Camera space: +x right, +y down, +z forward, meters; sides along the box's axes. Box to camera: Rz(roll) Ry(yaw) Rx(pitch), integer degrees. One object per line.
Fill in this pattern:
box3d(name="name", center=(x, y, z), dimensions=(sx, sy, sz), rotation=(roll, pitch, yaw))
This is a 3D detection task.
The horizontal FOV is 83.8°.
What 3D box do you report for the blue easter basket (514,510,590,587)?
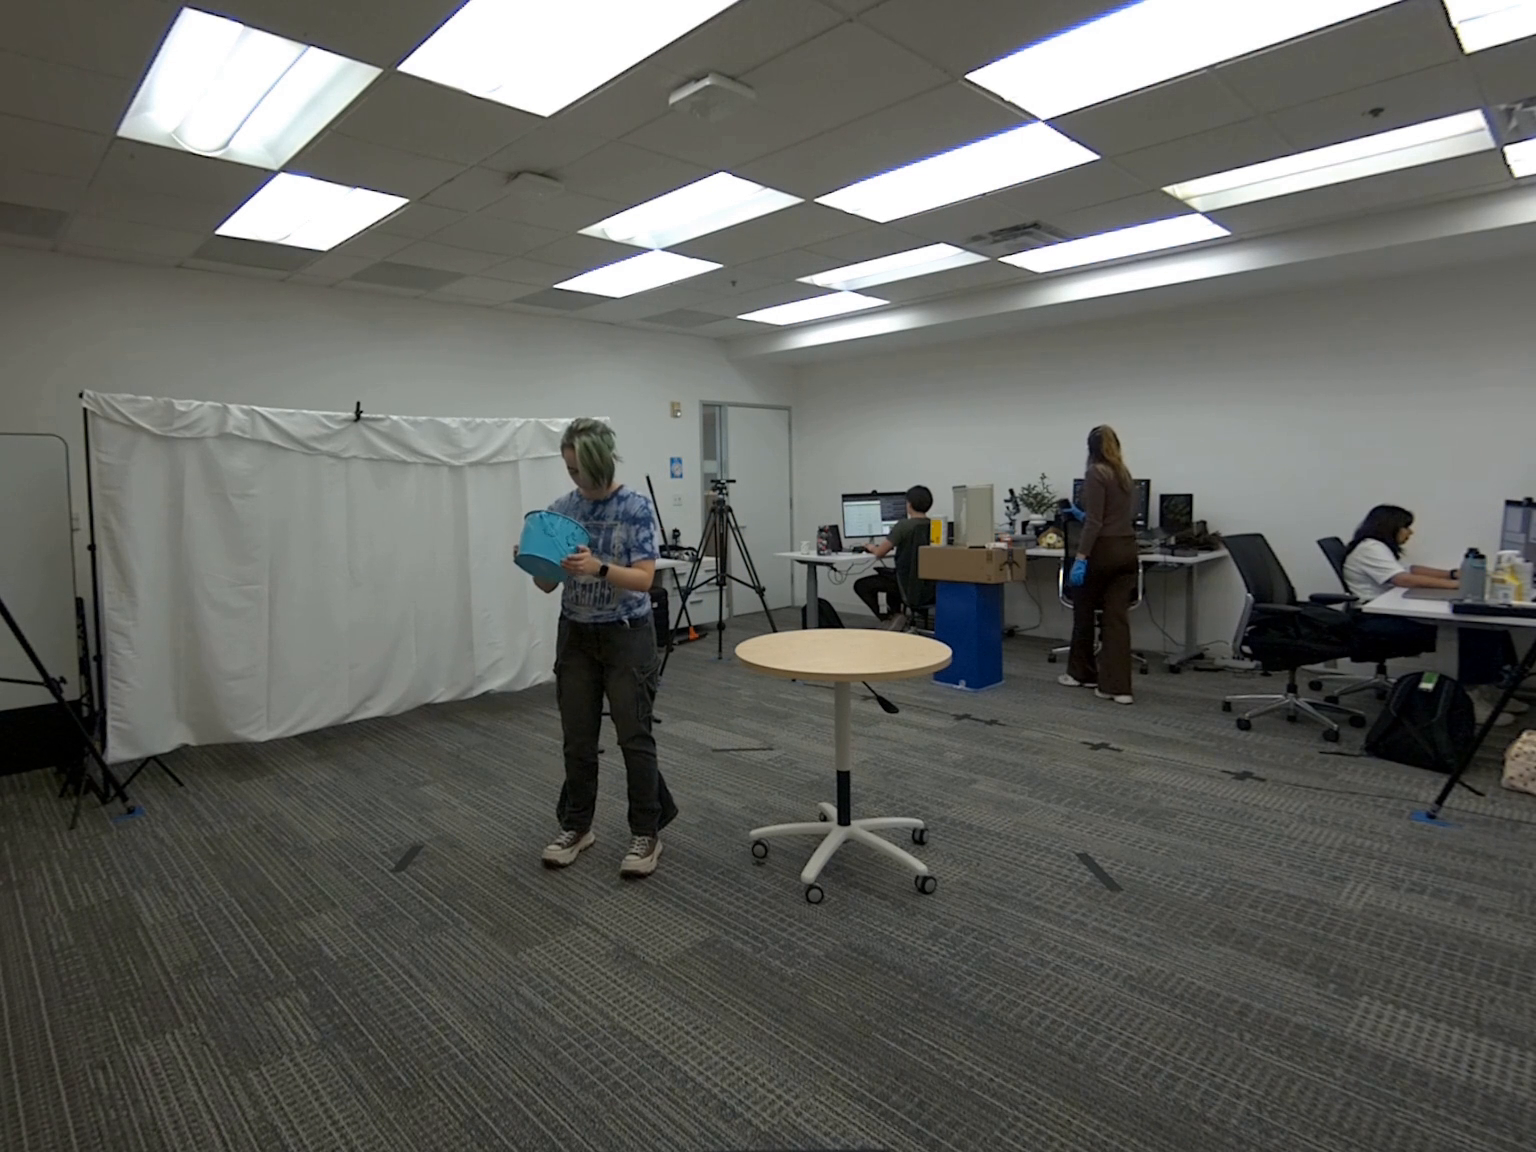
box3d(name="blue easter basket", center=(-0.706, -0.086, 2.799), dimensions=(0.245, 0.158, 0.238), rotation=(13, -27, 5))
